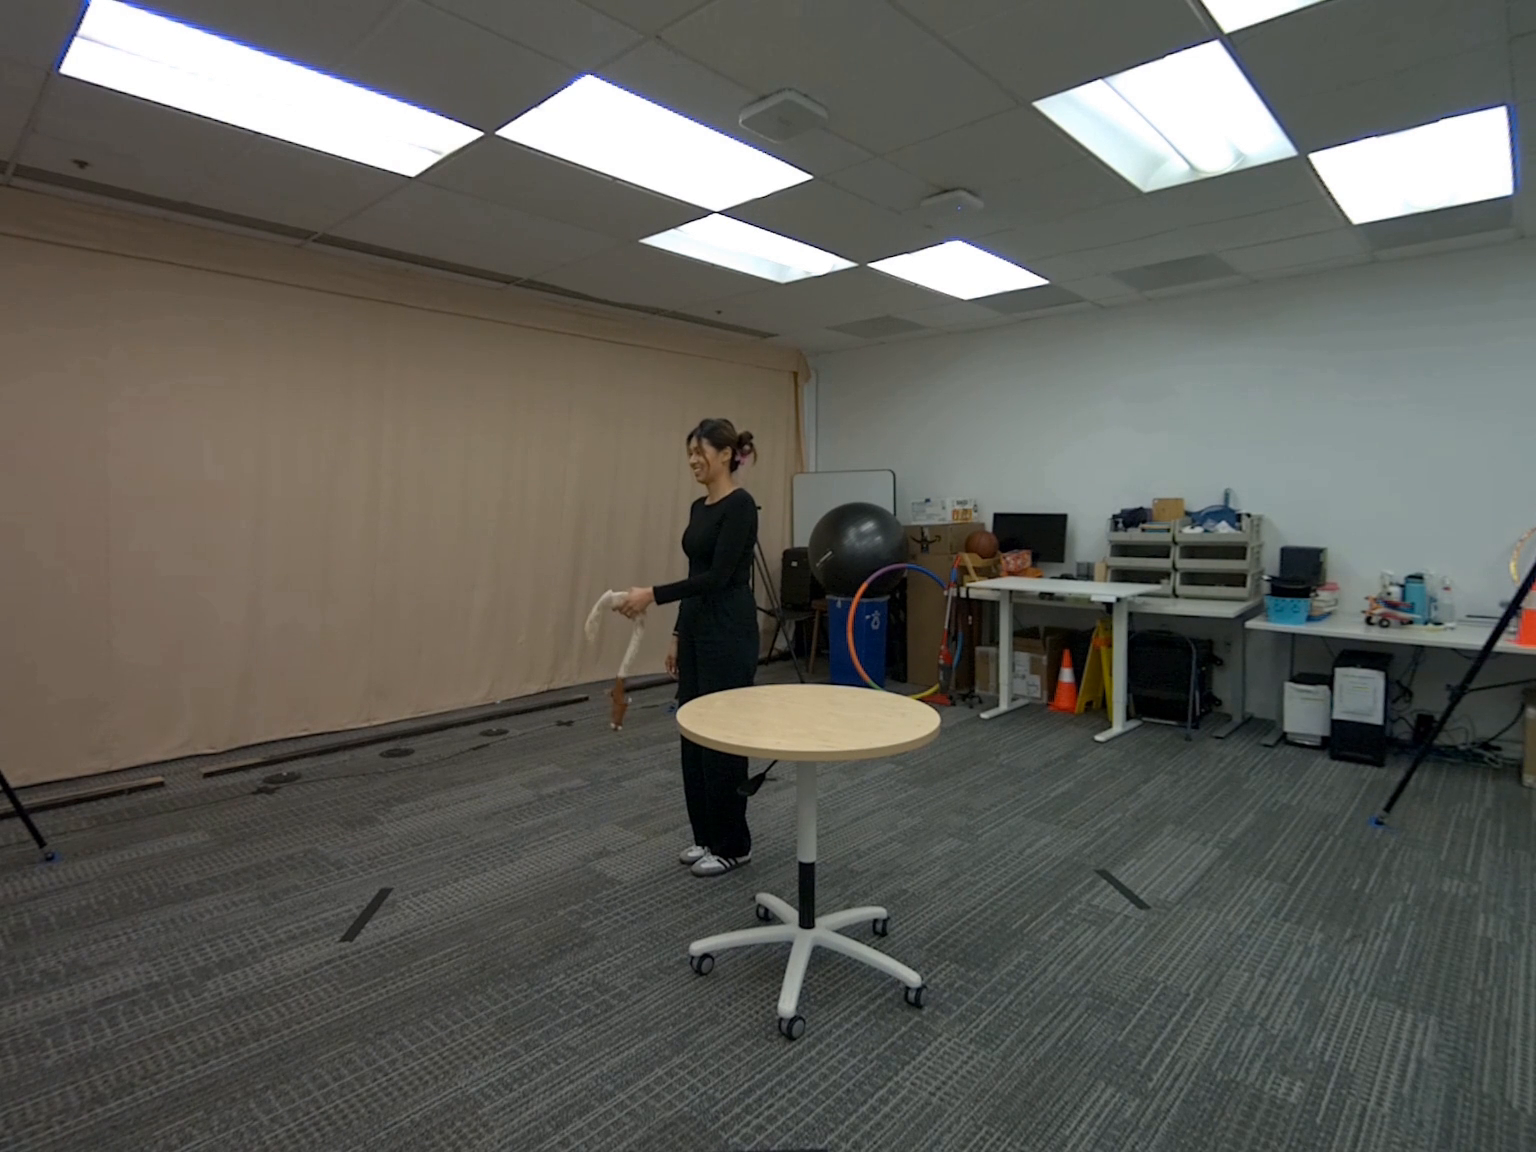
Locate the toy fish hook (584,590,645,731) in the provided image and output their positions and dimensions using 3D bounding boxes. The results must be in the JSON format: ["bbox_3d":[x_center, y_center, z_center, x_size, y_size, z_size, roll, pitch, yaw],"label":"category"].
[{"bbox_3d":[-0.567,0.287,3.051,0.221,0.506,0.049,7,0,-13],"label":"toy fish hook"}]
